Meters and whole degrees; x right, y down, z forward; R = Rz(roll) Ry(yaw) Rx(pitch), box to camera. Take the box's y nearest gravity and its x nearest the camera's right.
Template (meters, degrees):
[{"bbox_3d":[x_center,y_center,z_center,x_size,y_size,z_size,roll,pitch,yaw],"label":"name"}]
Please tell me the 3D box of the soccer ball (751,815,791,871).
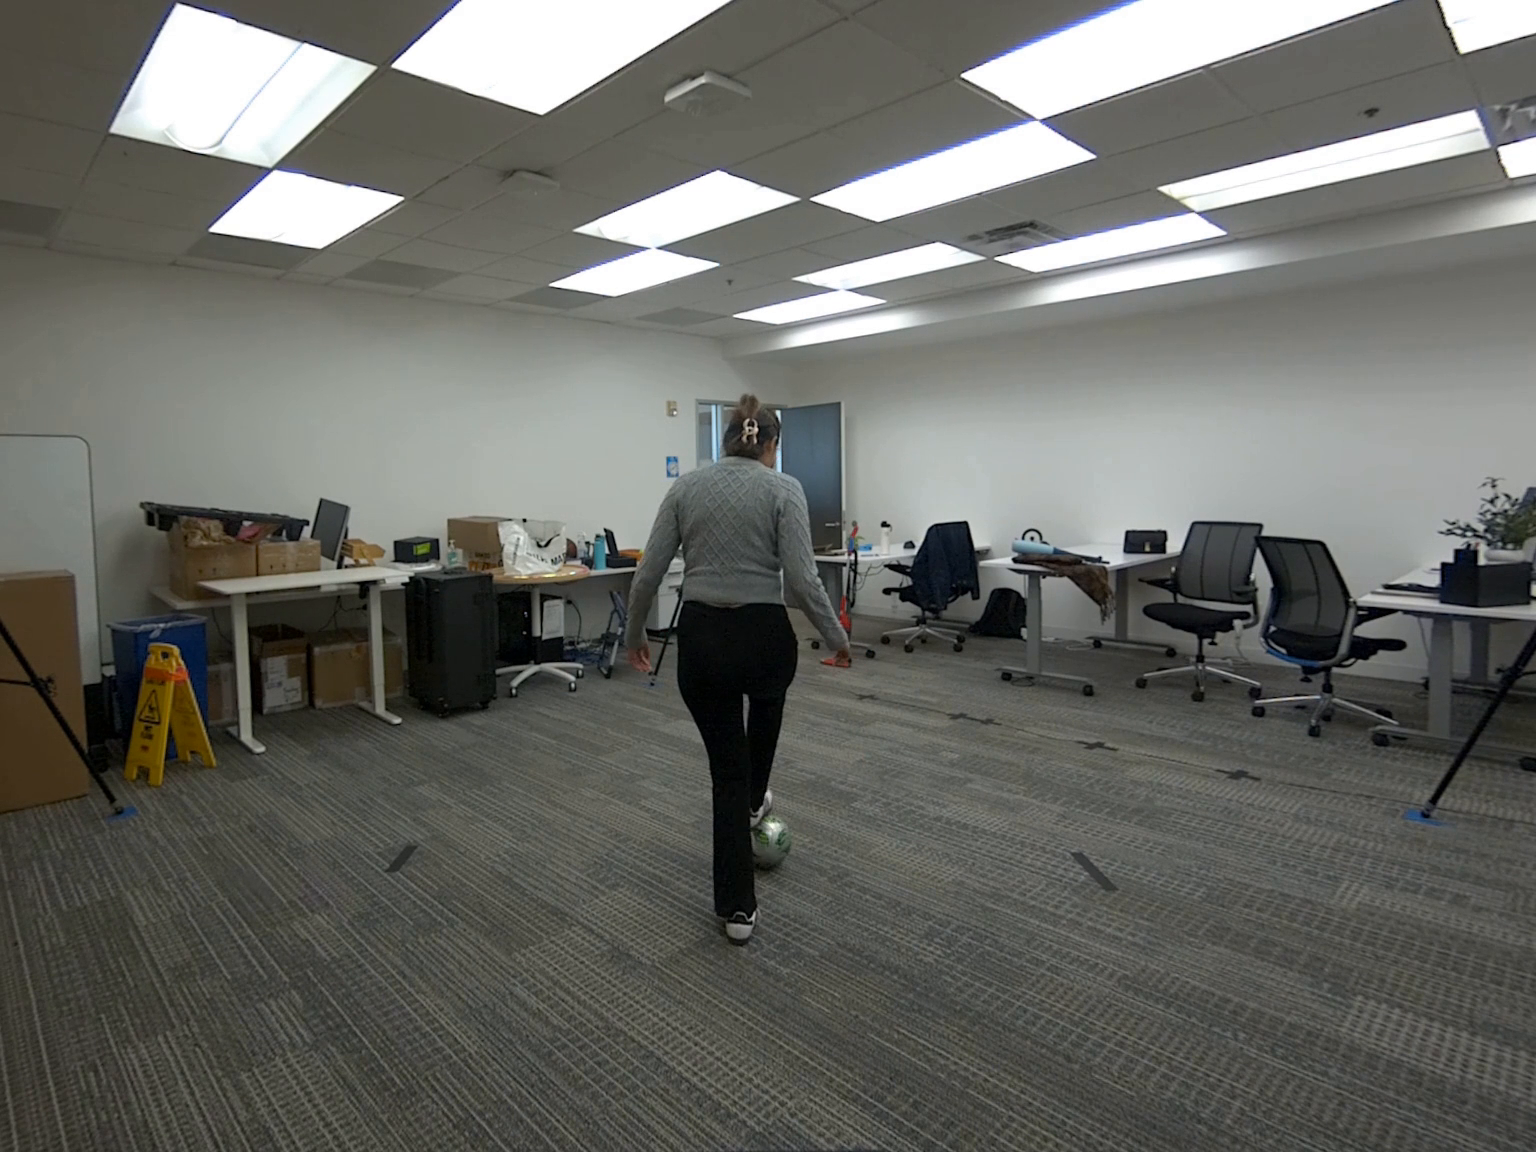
[{"bbox_3d":[-0.006,0.956,3.080,0.187,0.187,0.188,-1,5,-2],"label":"soccer ball"}]
